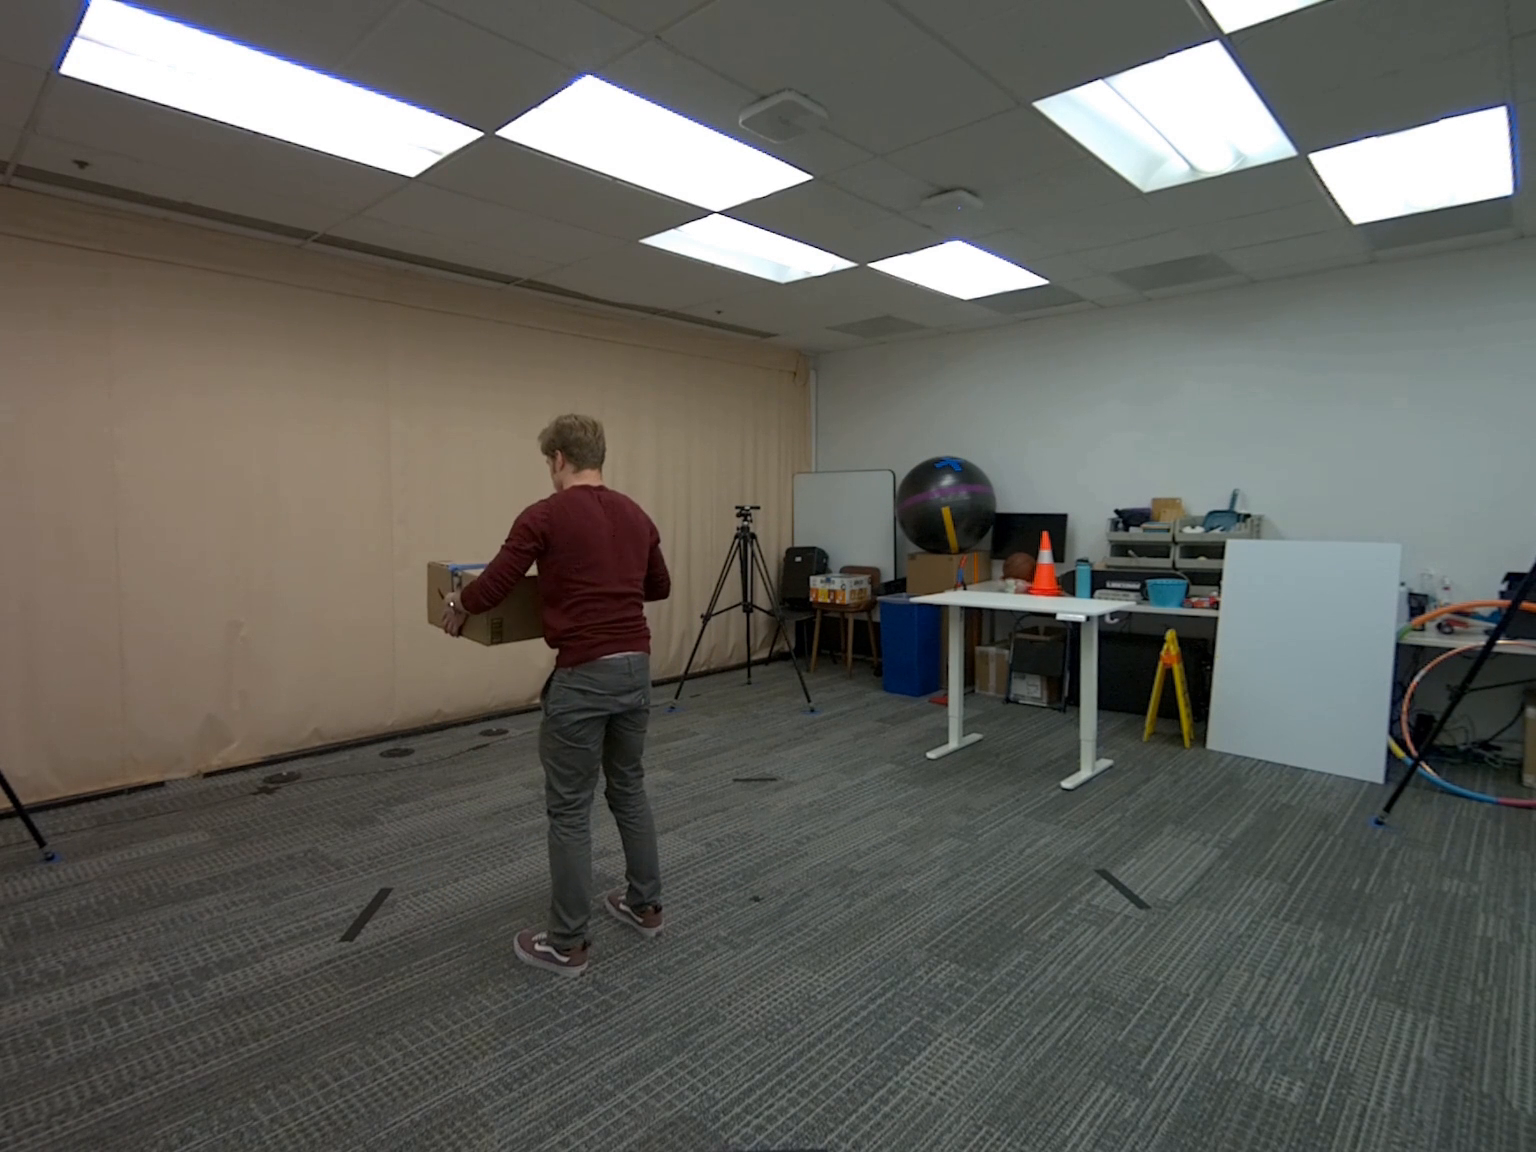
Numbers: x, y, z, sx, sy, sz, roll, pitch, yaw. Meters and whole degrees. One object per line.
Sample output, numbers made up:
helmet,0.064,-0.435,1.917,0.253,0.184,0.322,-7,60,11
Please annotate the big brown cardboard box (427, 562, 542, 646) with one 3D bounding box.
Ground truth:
big brown cardboard box,-0.842,0.083,2.937,0.432,0.232,0.571,10,10,44
